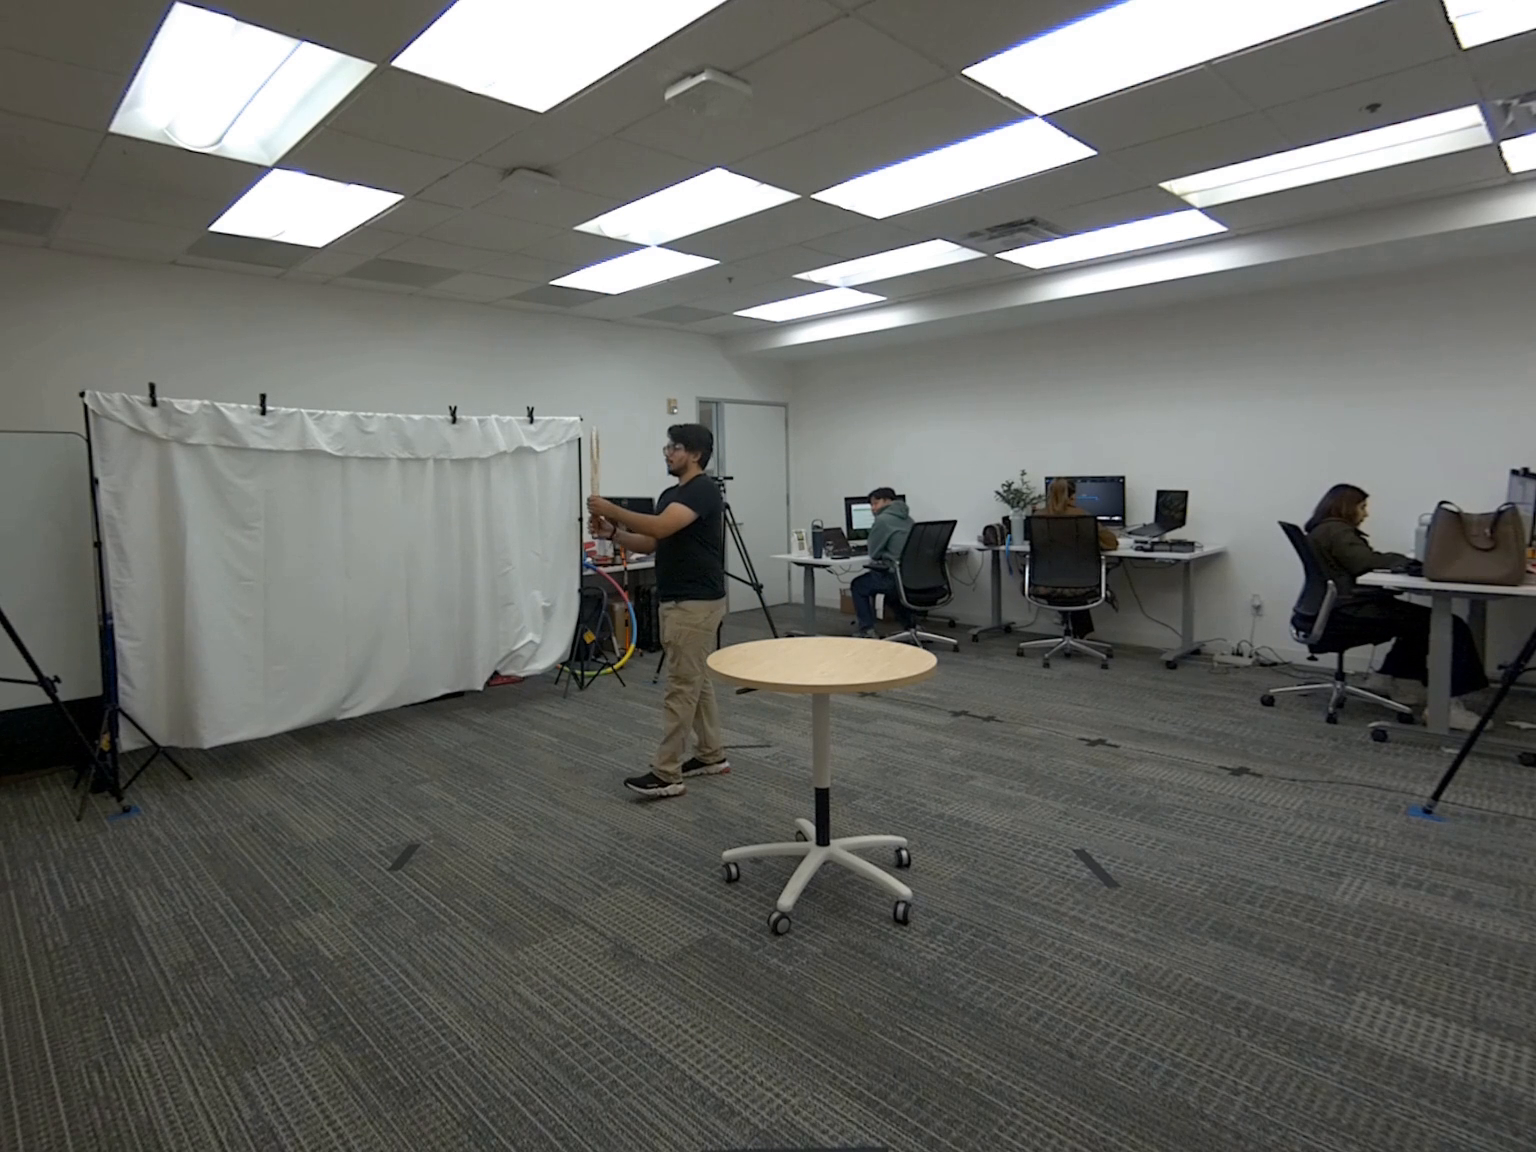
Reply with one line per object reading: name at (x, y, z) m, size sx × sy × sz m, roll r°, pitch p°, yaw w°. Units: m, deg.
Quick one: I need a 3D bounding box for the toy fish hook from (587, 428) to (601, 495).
toy fish hook at (-0.775, -0.407, 3.782) m, size 0.048 × 0.502 × 0.227 m, roll 0°, pitch 9°, yaw -6°
